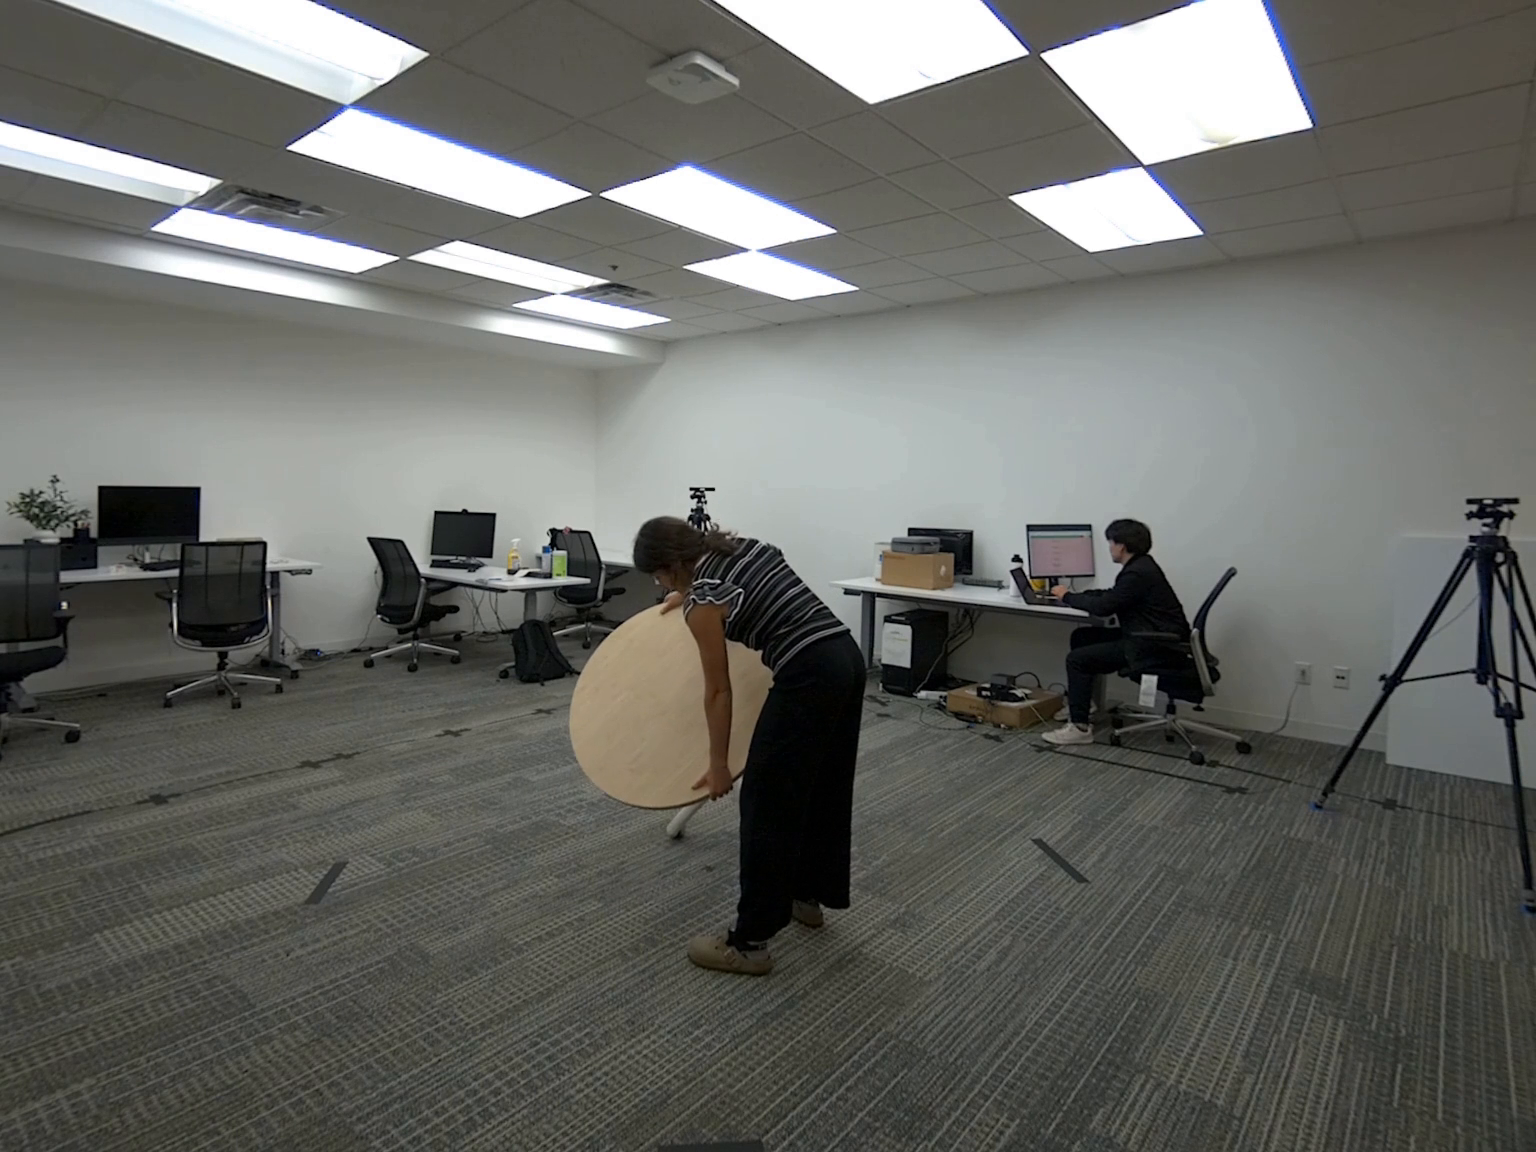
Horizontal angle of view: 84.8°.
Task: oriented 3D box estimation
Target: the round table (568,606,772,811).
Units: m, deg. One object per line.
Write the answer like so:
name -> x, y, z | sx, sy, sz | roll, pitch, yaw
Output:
round table -> -0.227, 0.615, 3.172 | 0.782, 0.776, 0.763 | 3, -34, 22
